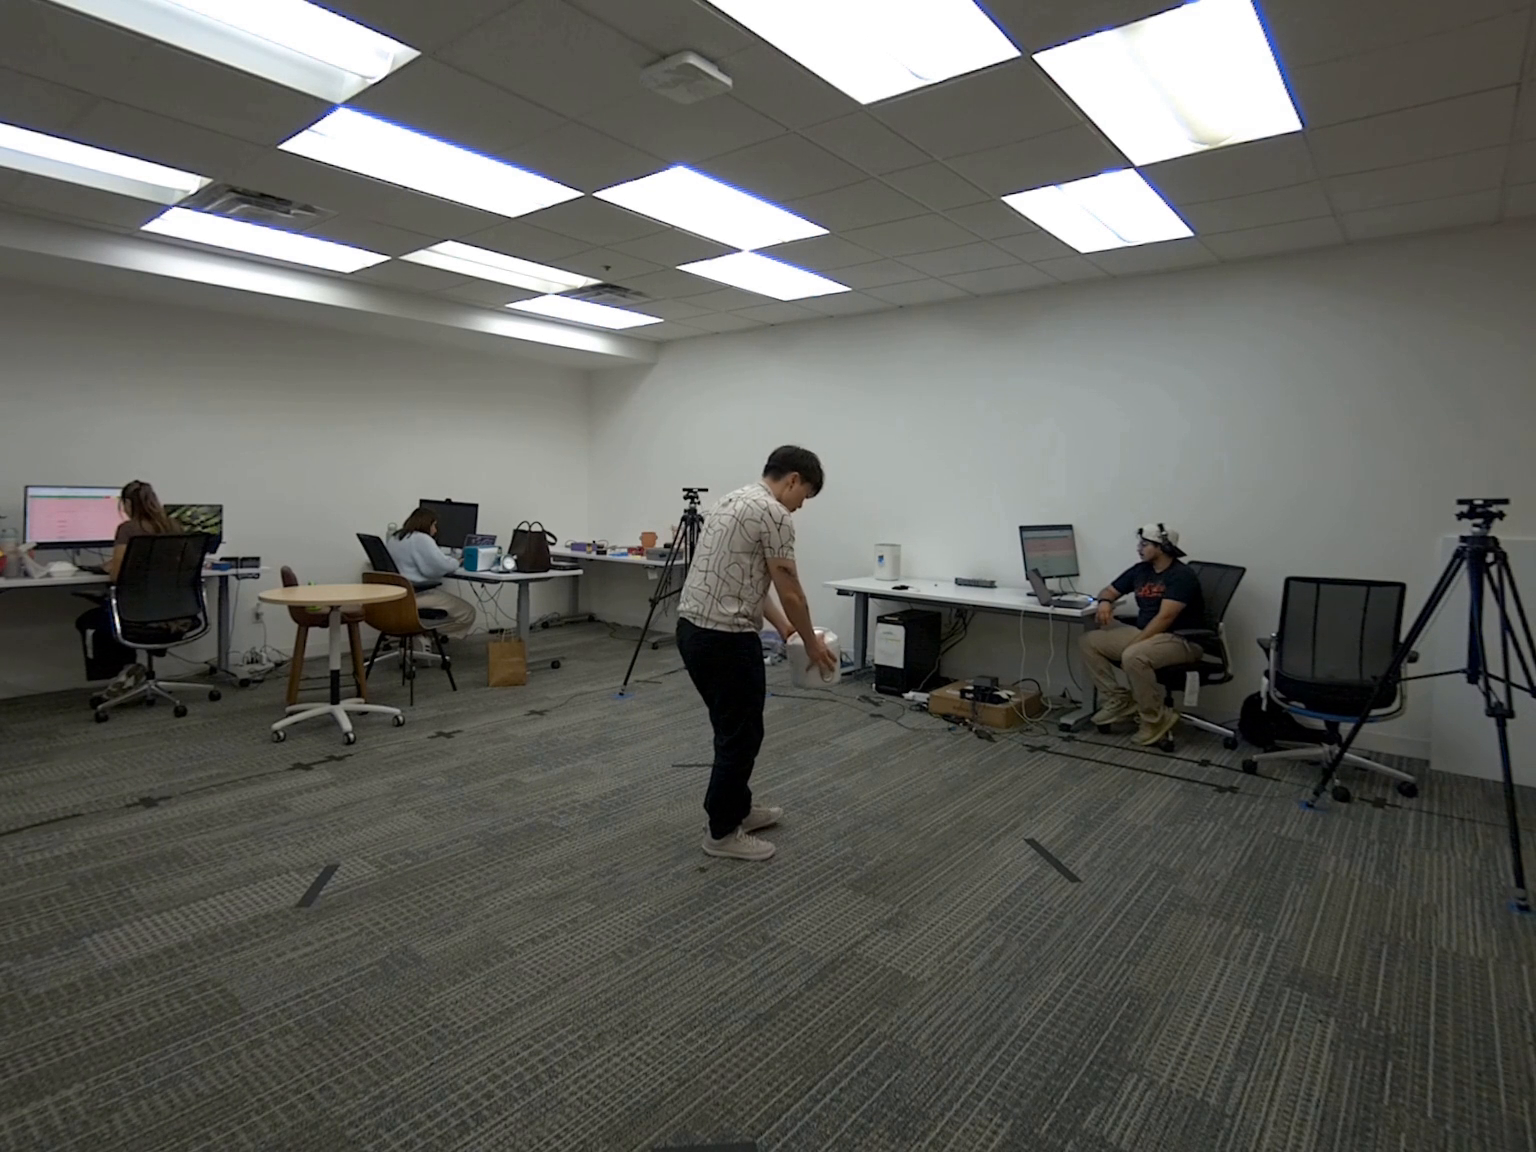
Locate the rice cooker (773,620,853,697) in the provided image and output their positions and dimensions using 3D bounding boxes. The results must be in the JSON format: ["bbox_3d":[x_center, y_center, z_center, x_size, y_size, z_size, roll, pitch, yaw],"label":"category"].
[{"bbox_3d":[0.175,0.323,3.373,0.216,0.231,0.223,-8,6,-22],"label":"rice cooker"}]
